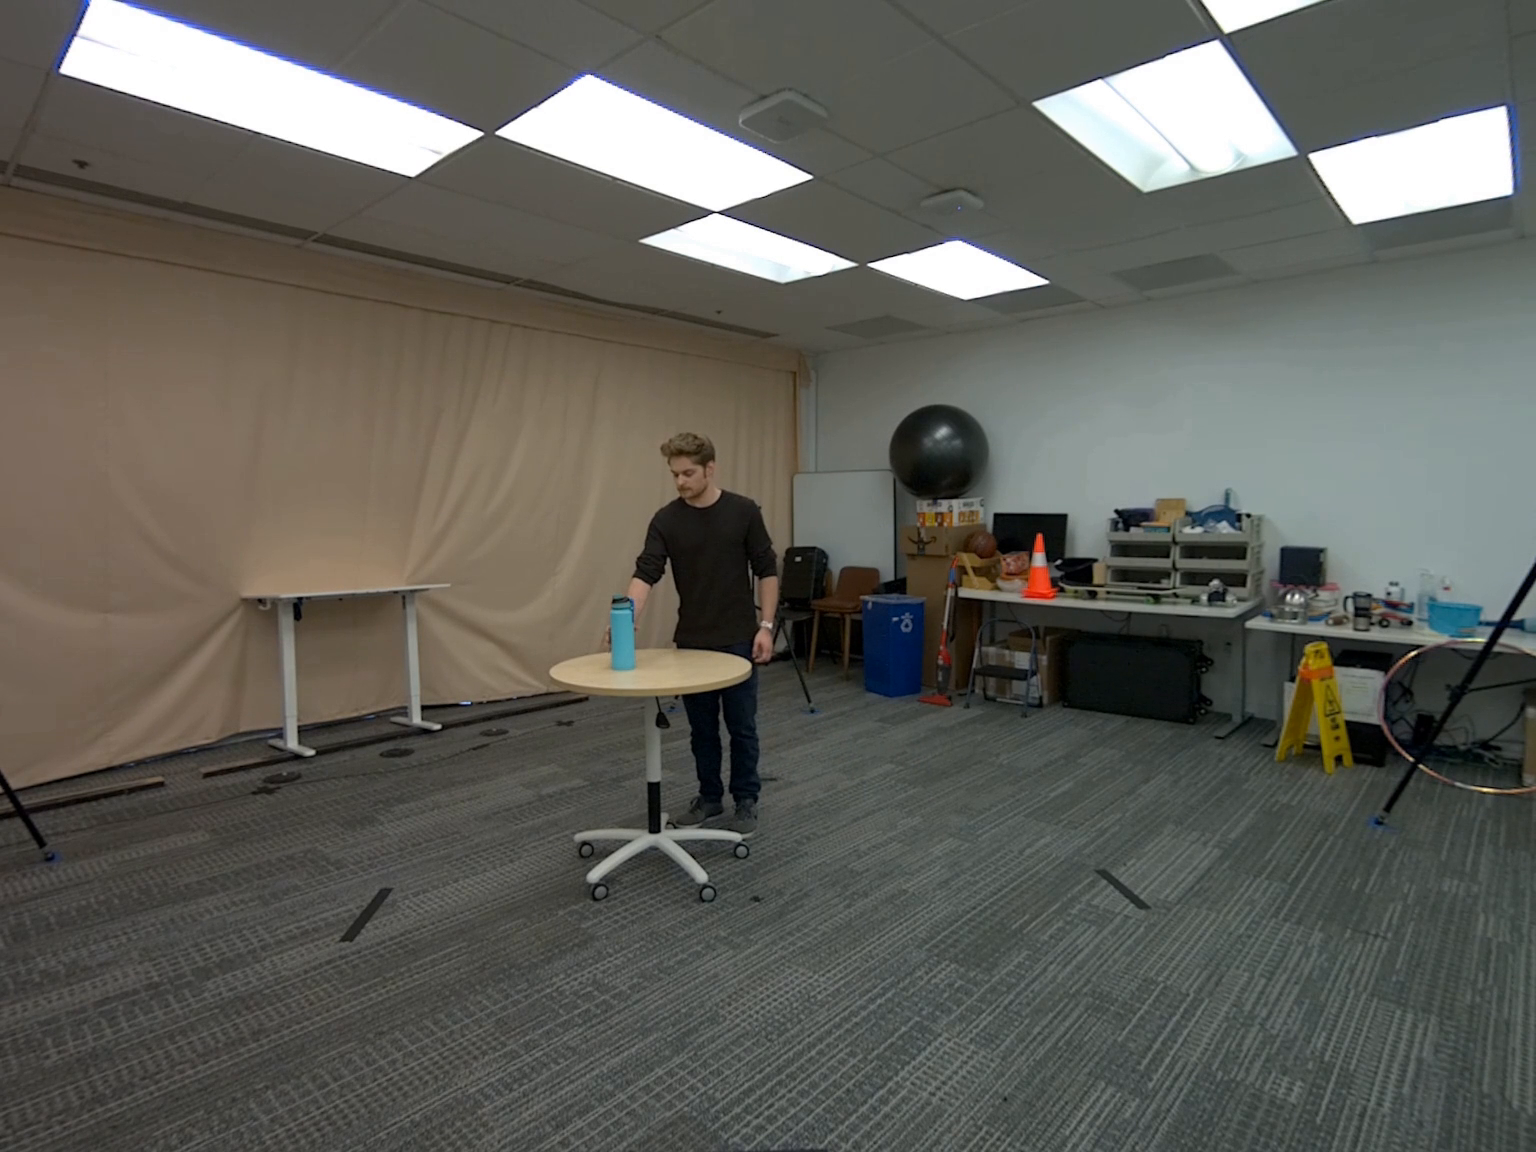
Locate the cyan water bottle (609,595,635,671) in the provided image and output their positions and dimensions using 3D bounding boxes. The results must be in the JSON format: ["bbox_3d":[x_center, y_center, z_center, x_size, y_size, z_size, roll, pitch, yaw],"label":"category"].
[{"bbox_3d":[-0.550,0.212,3.183,0.092,0.282,0.093,0,4,-2],"label":"cyan water bottle"}]
